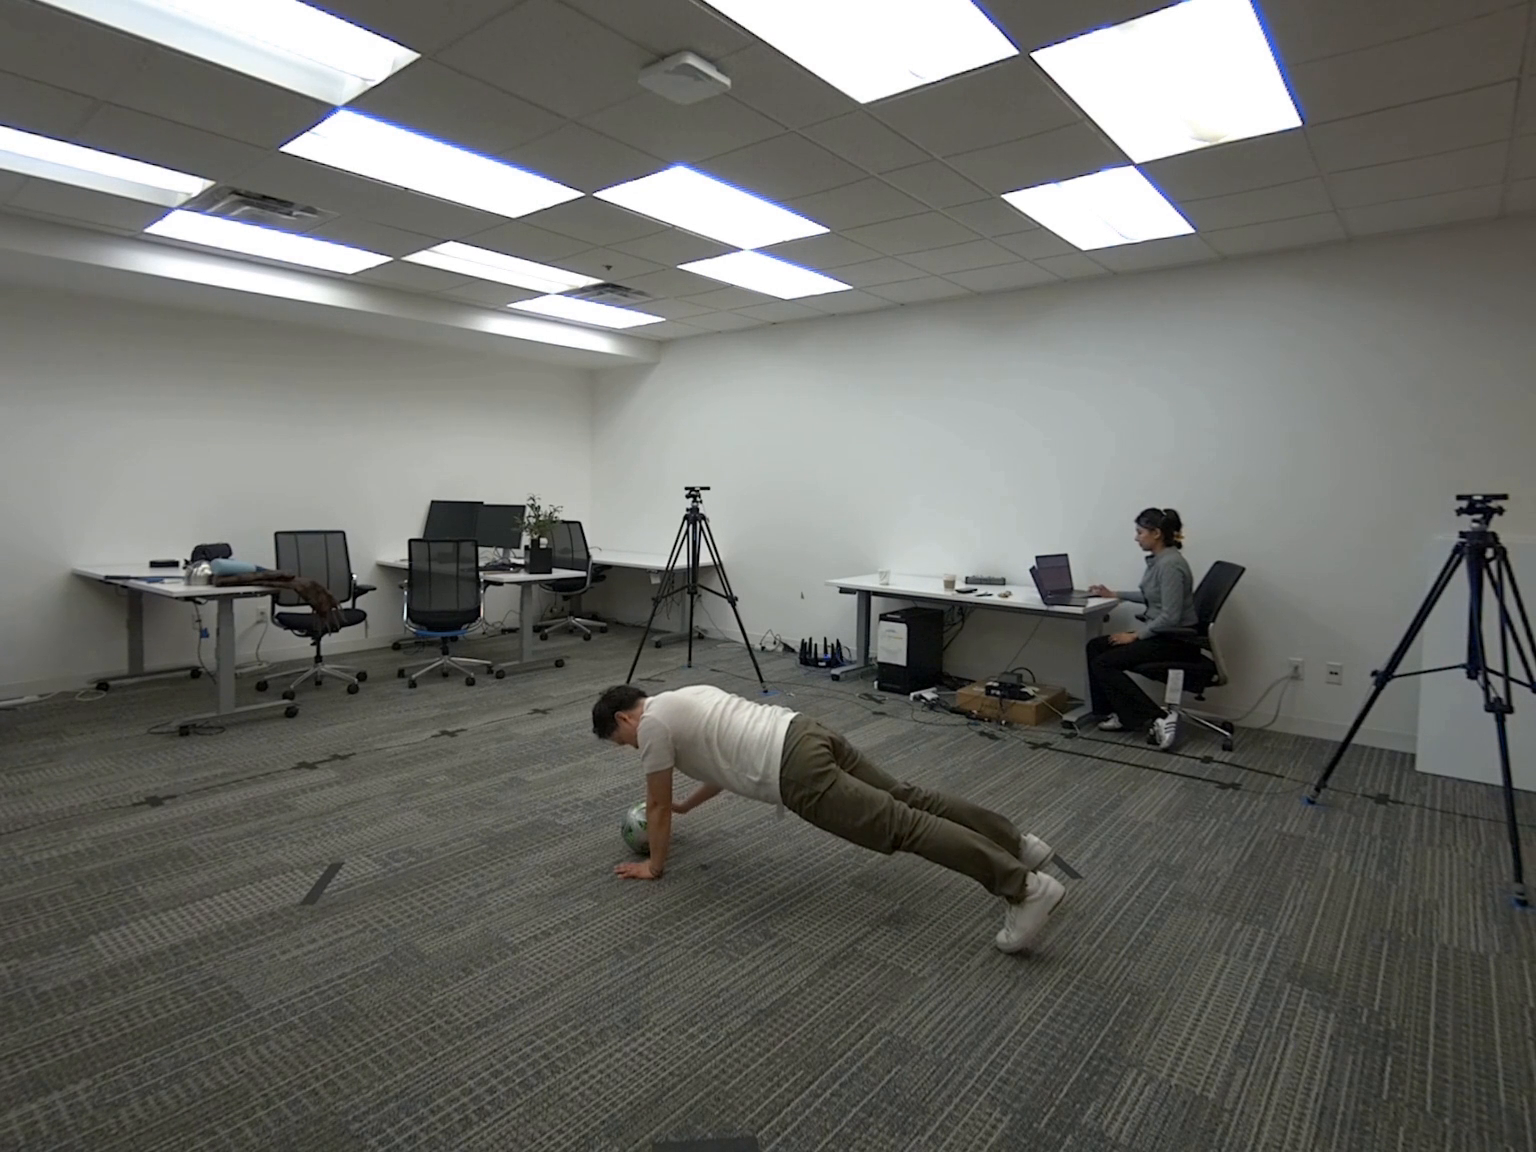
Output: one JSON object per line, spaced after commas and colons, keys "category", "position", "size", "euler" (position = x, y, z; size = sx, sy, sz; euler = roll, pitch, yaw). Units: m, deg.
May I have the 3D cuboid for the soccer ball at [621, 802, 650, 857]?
{"category": "soccer ball", "position": [-0.478, 0.953, 3.240], "size": [0.187, 0.187, 0.188], "euler": [1, 4, -2]}
